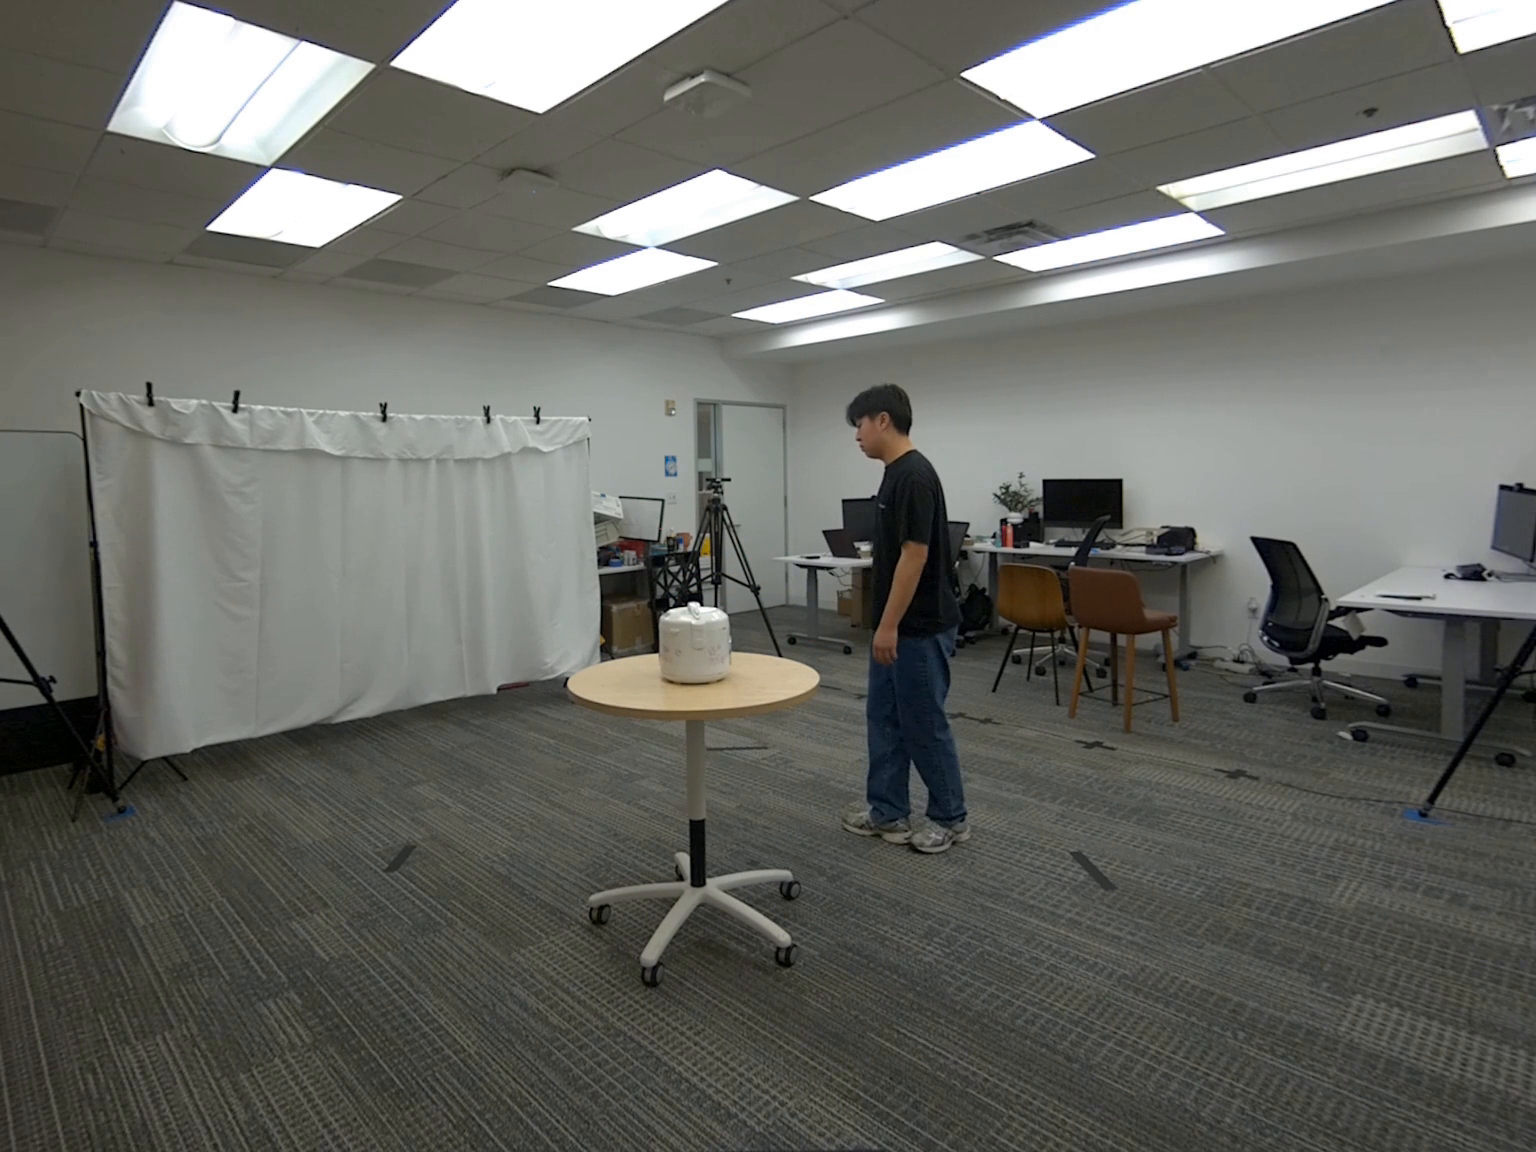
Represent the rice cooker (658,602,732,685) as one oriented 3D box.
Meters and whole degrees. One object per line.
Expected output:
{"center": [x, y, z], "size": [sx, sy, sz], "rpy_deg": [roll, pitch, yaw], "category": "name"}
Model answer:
{"center": [-0.216, 0.197, 2.585], "size": [0.215, 0.232, 0.224], "rpy_deg": [-2, 6, -10], "category": "rice cooker"}
